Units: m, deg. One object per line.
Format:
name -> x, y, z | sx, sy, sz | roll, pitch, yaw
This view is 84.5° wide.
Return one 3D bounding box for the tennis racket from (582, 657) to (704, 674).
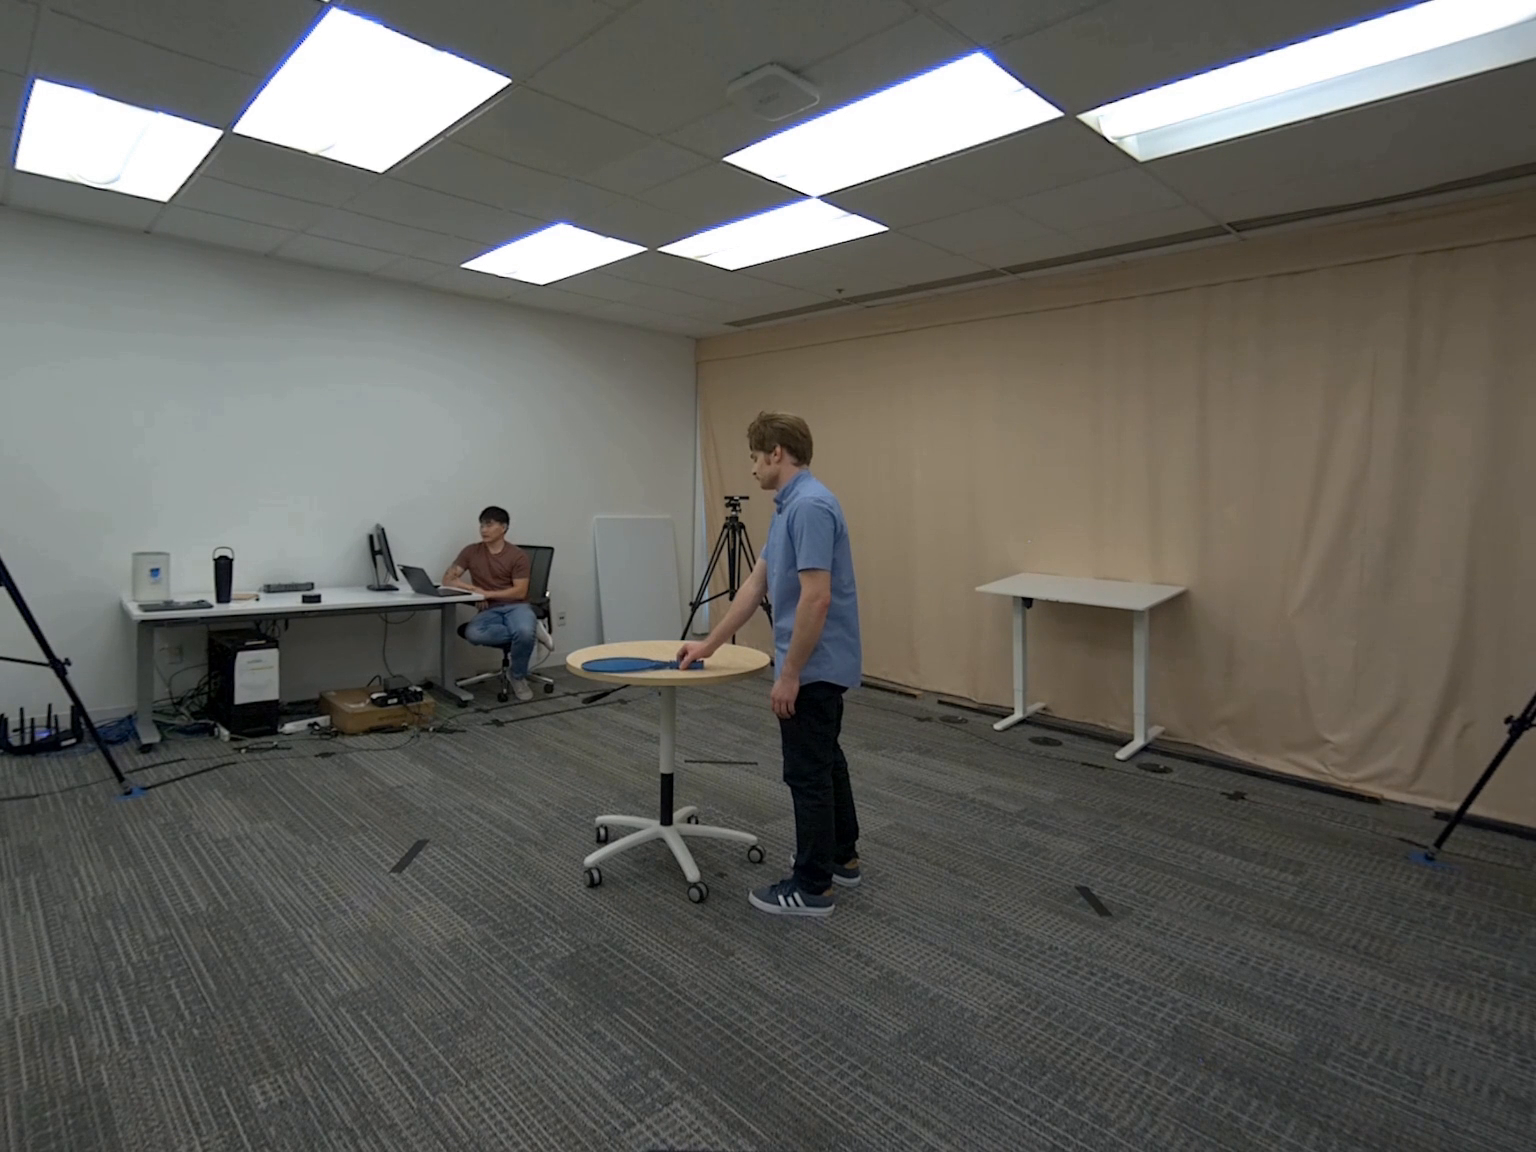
tennis racket -> -0.447, 0.317, 2.958 | 0.433, 0.031, 0.214 | 0, 6, 1
